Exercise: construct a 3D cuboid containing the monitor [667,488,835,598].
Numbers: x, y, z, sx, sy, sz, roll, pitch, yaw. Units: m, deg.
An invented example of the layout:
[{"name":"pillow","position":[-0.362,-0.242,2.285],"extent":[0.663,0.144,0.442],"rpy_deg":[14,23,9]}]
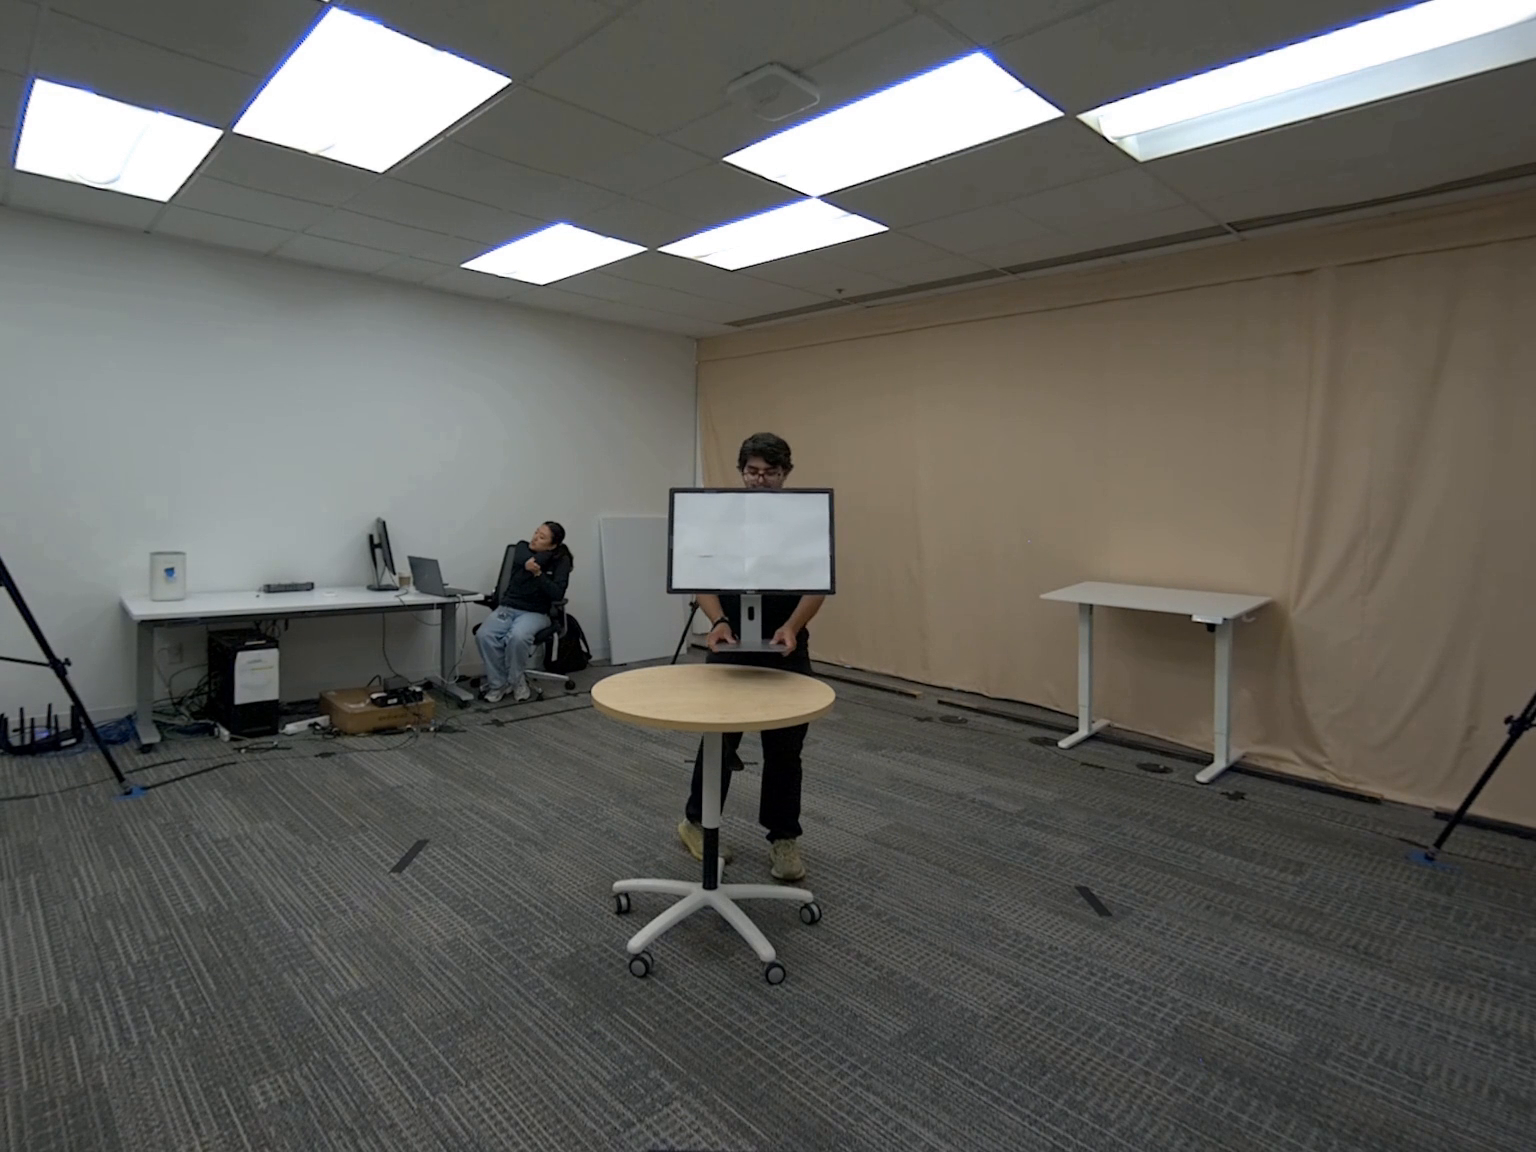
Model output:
[{"name":"monitor","position":[-0.066,-0.020,2.880],"extent":[0.566,0.556,0.209],"rpy_deg":[0,-6,1]}]
